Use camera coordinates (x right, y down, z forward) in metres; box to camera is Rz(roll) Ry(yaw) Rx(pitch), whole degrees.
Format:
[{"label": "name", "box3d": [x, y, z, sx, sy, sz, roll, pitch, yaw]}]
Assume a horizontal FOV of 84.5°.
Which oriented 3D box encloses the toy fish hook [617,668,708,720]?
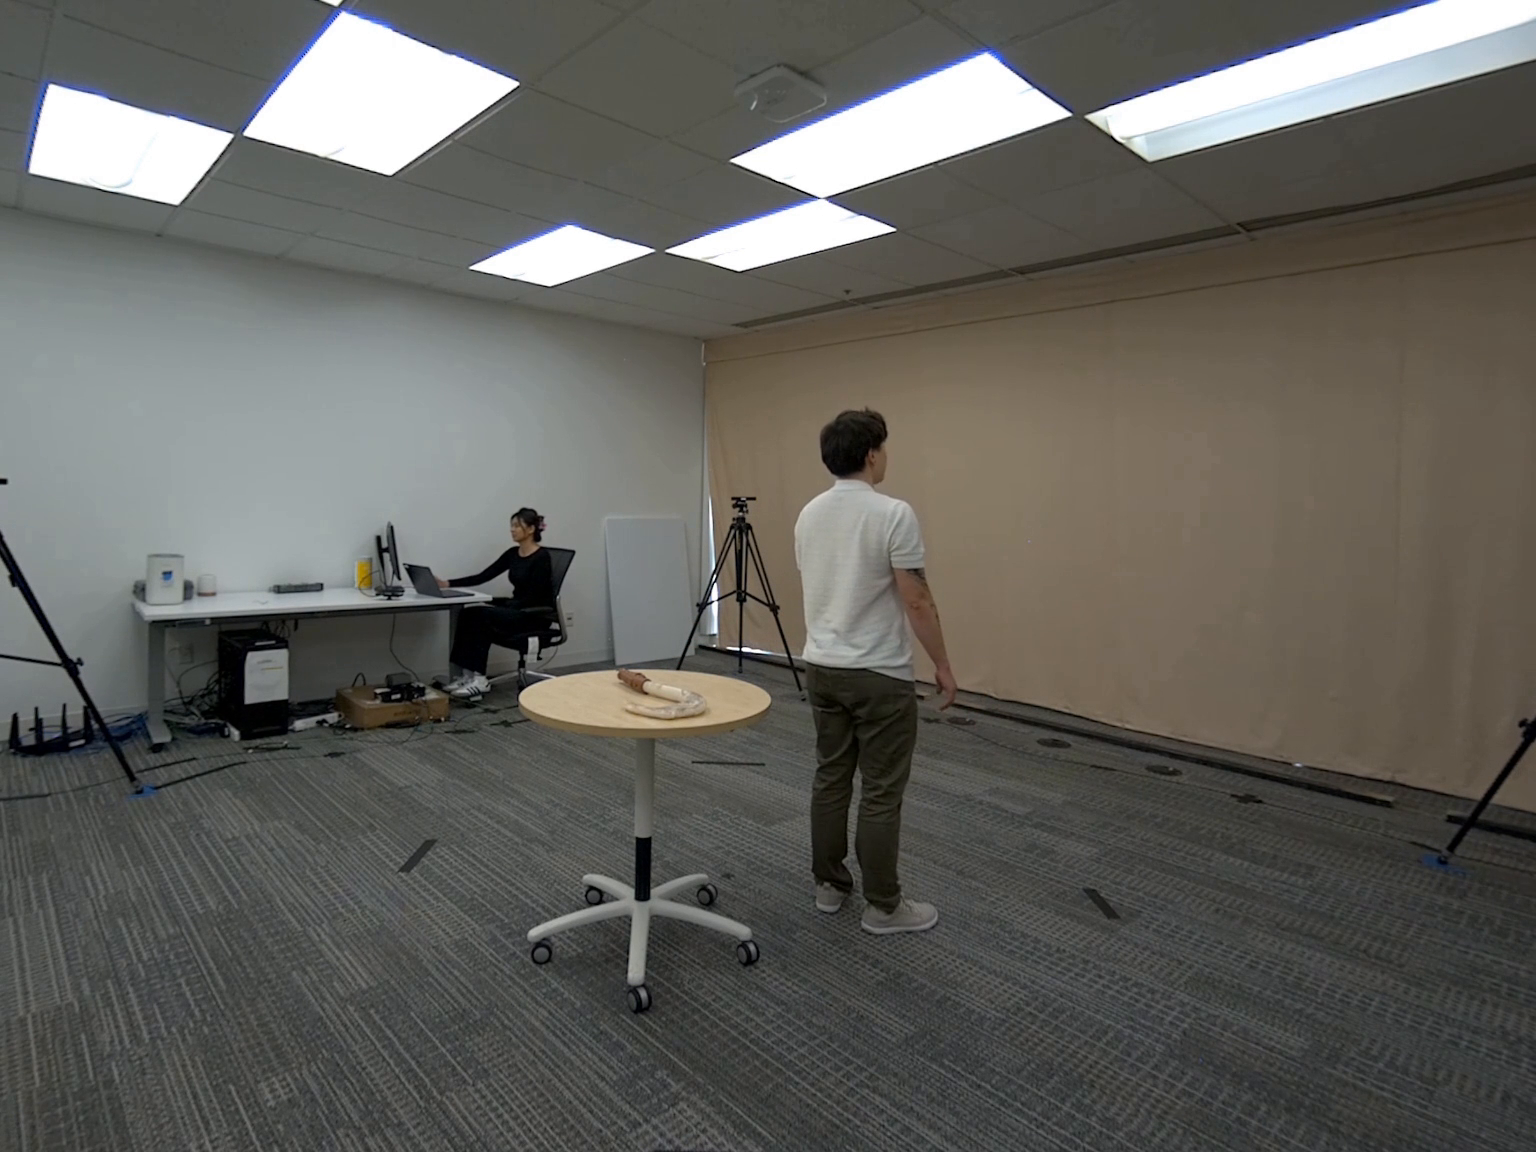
[{"label": "toy fish hook", "box3d": [-0.376, 0.352, 2.520, 0.220, 0.048, 0.519, -2, 6, -35]}]
